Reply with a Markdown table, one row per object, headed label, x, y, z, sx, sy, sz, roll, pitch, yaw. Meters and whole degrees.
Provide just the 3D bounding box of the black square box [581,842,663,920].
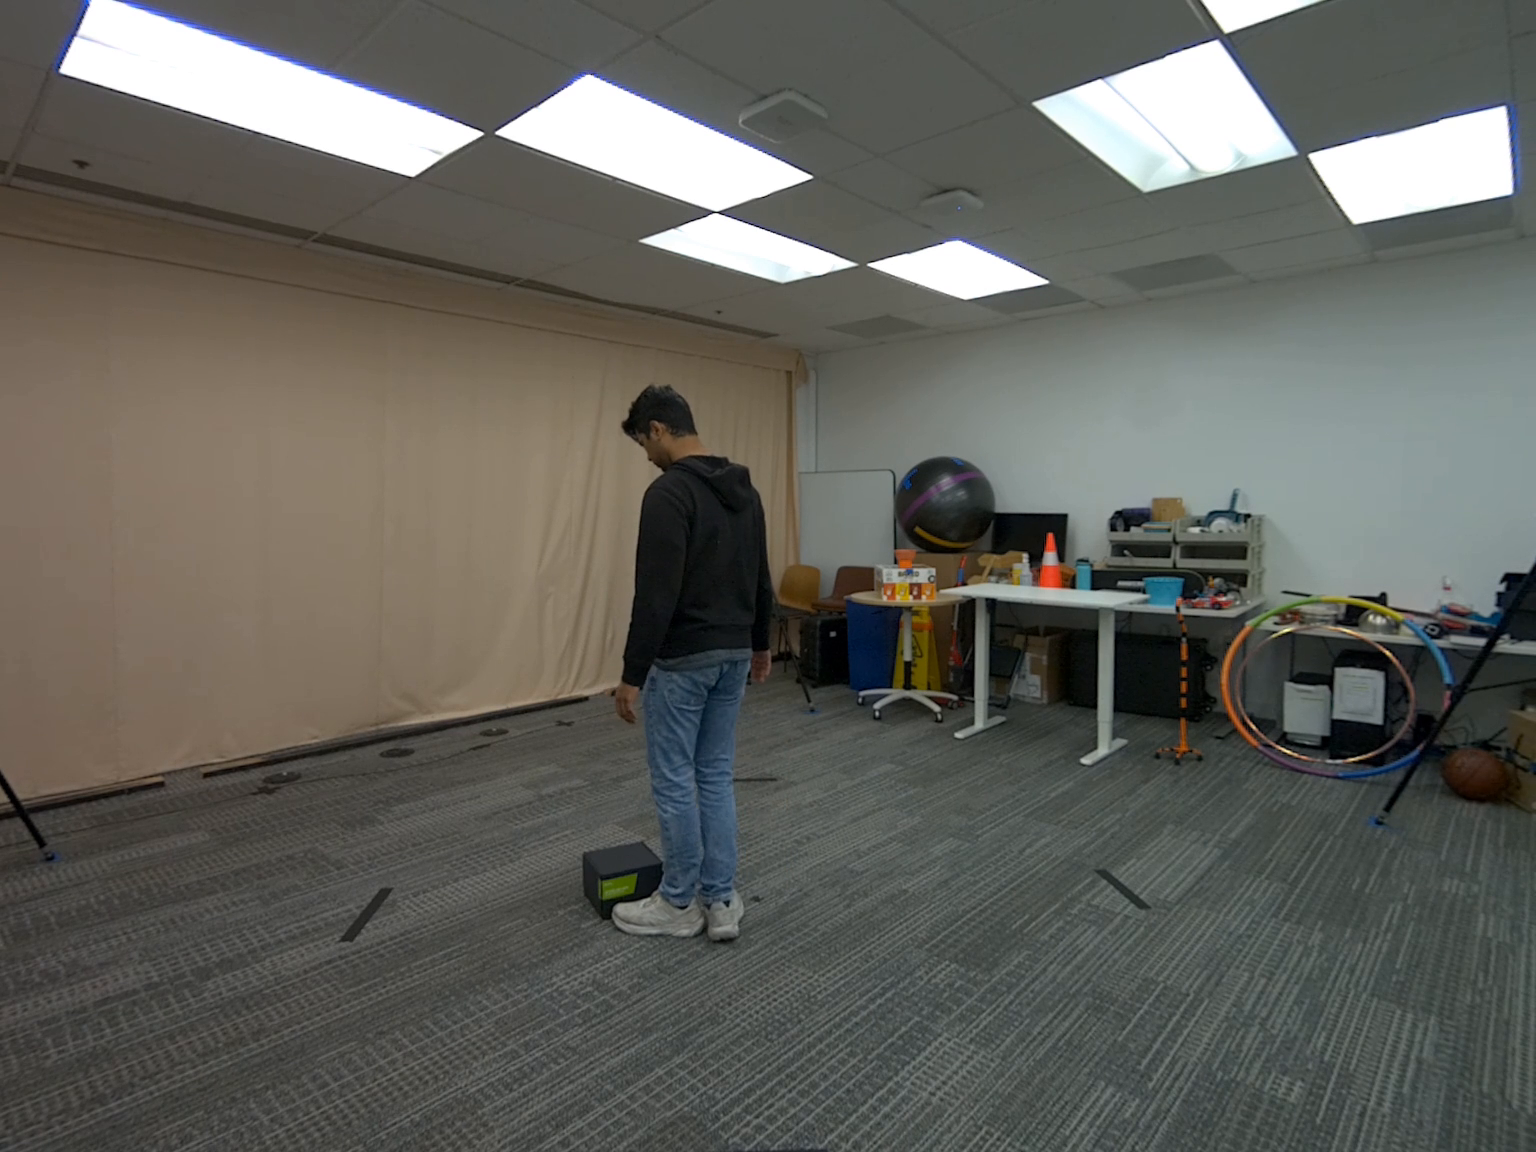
| label | x | y | z | sx | sy | sz | roll | pitch | yaw |
| --- | --- | --- | --- | --- | --- | --- | --- | --- | --- |
| black square box | -0.506 | 1.065 | 2.970 | 0.222 | 0.155 | 0.223 | -2 | 5 | -27 |
